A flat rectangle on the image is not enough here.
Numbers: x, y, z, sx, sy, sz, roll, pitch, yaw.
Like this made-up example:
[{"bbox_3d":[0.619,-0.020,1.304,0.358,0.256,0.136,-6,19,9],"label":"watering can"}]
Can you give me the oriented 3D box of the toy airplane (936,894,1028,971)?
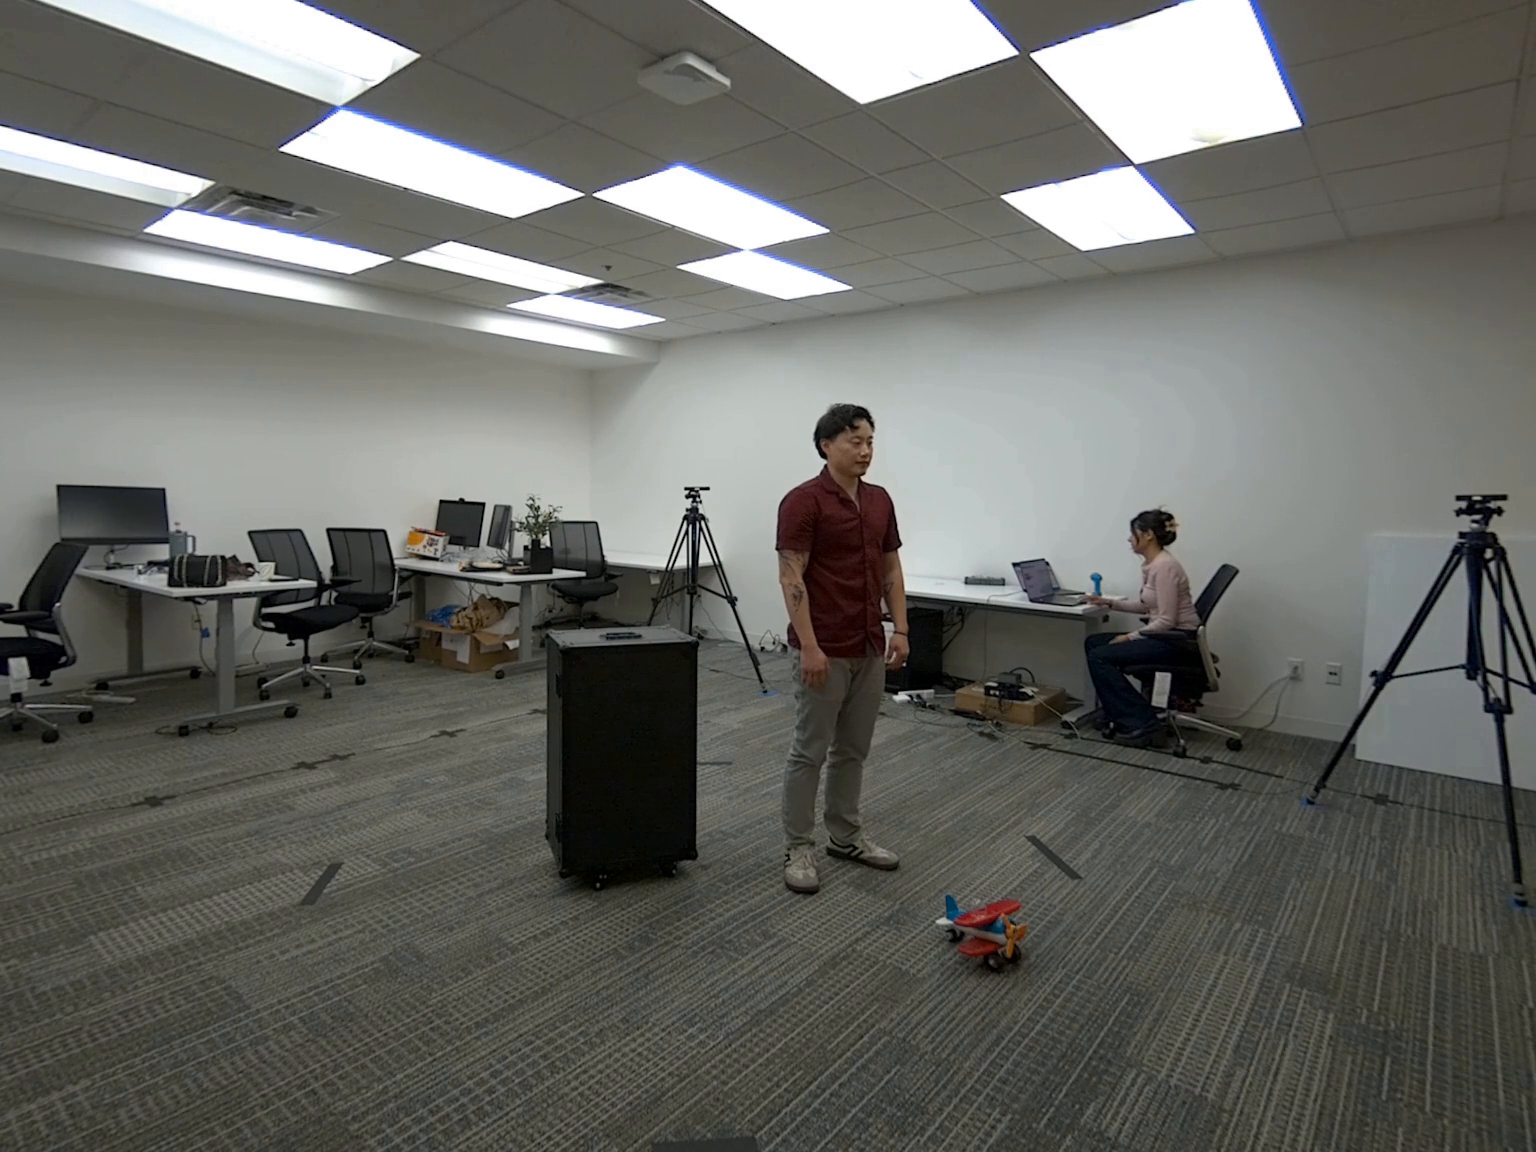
[{"bbox_3d":[0.623,1.064,2.558,0.266,0.156,0.245,5,5,26],"label":"toy airplane"}]
